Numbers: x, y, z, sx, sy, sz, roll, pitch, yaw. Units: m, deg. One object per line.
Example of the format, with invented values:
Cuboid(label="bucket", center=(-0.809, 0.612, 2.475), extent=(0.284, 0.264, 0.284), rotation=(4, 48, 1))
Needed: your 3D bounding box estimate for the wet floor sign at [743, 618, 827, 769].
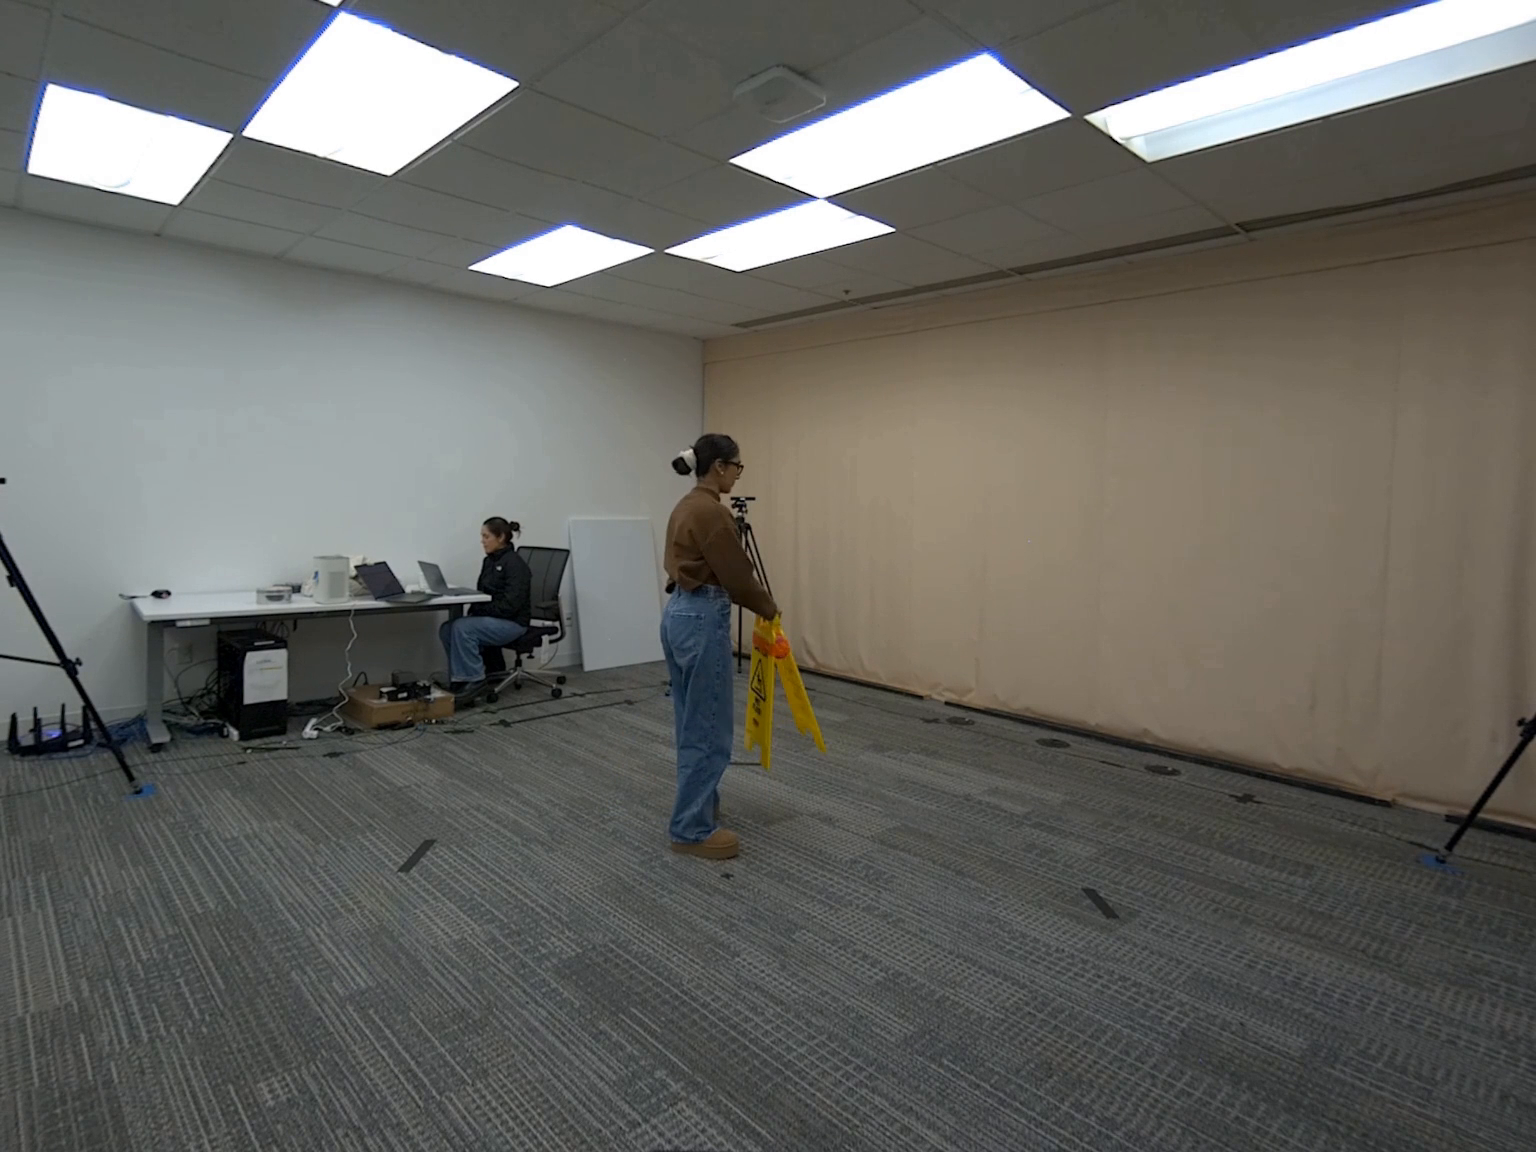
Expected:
Cuboid(label="wet floor sign", center=(0.024, 0.446, 3.562), extent=(0.286, 0.639, 0.289), rotation=(-11, 15, -19))
